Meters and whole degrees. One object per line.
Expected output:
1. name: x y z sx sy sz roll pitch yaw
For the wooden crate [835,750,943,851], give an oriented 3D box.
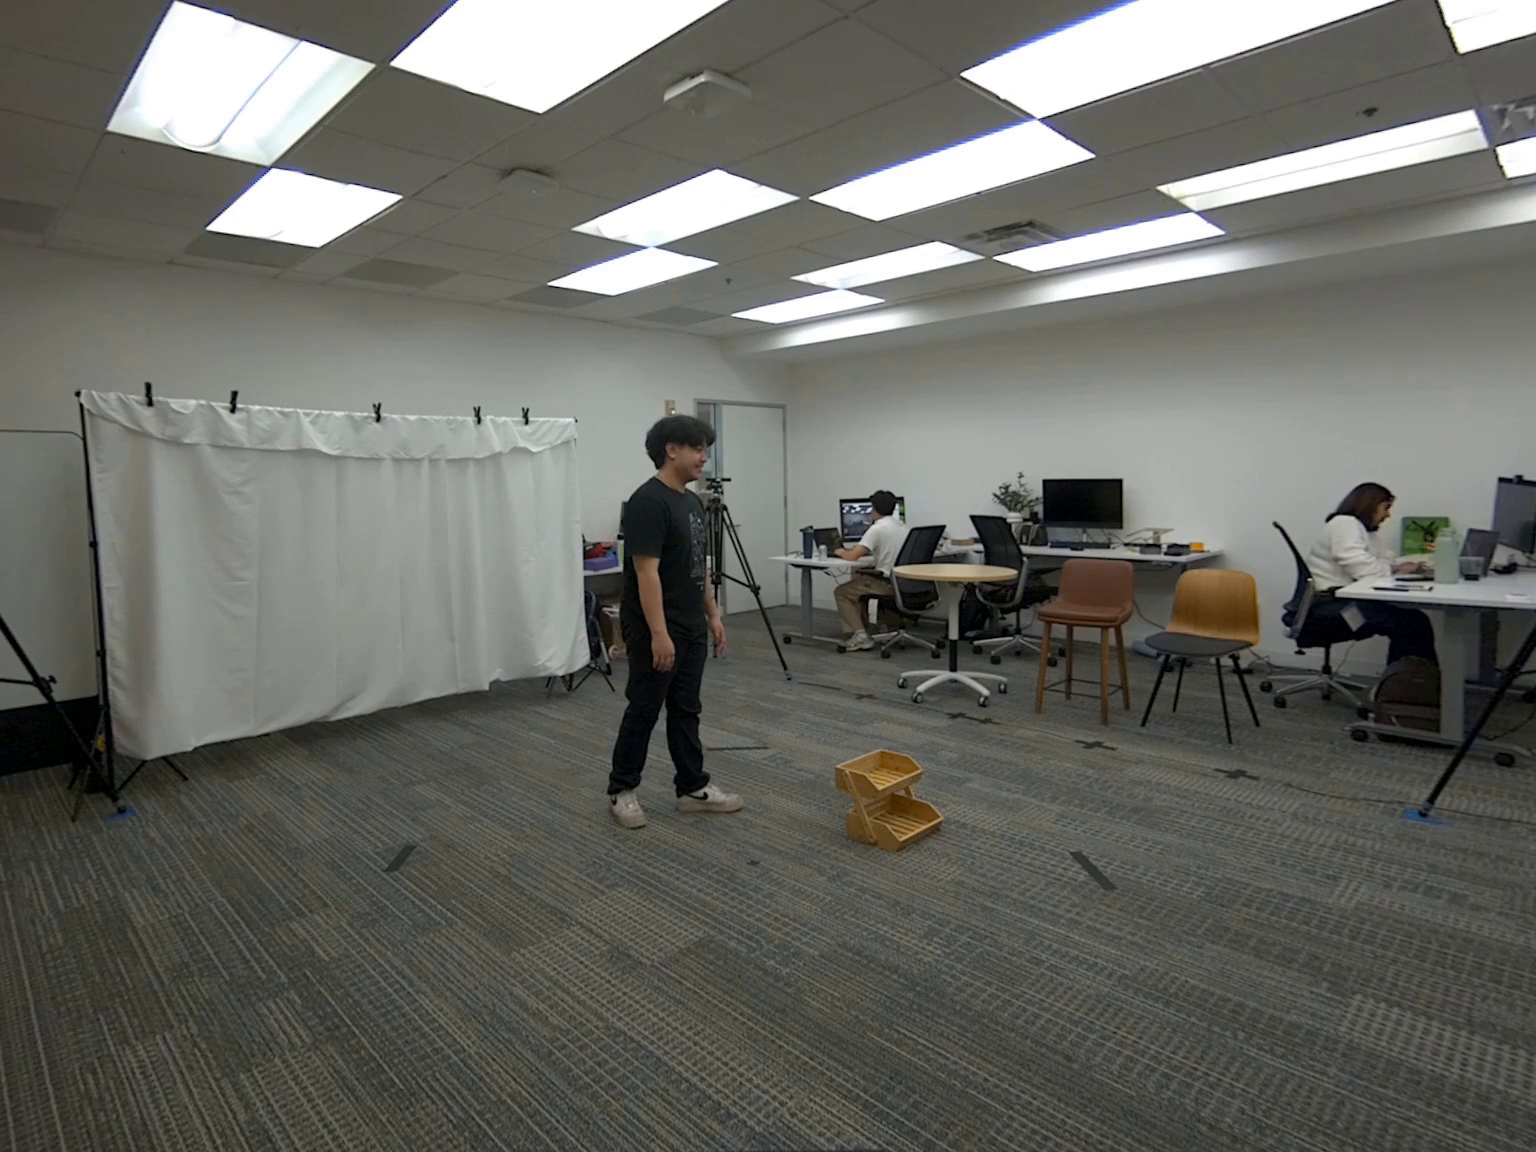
1. wooden crate: 0.482 0.872 3.362 0.316 0.272 0.311 -5 6 -45
